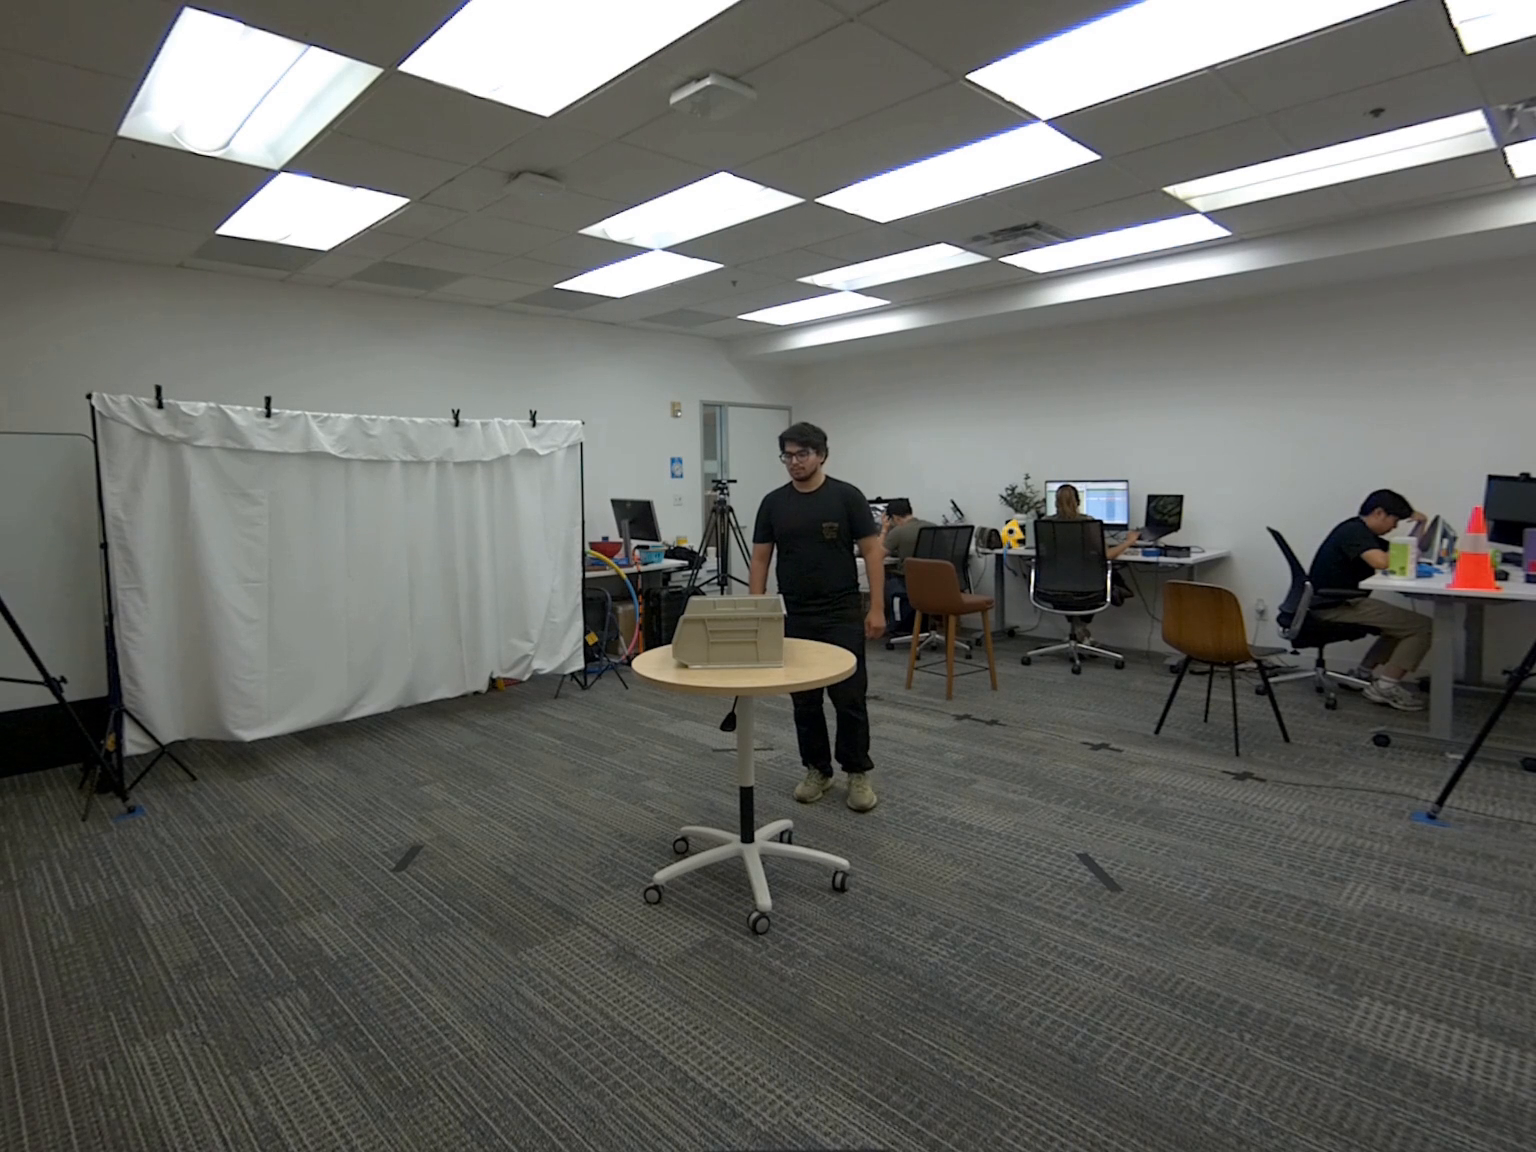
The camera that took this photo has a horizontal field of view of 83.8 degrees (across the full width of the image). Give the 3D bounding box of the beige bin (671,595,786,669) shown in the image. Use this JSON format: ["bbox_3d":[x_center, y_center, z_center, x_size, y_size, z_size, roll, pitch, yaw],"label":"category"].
[{"bbox_3d":[-0.139,0.195,2.990,0.377,0.188,0.424,0,6,-1],"label":"beige bin"}]
